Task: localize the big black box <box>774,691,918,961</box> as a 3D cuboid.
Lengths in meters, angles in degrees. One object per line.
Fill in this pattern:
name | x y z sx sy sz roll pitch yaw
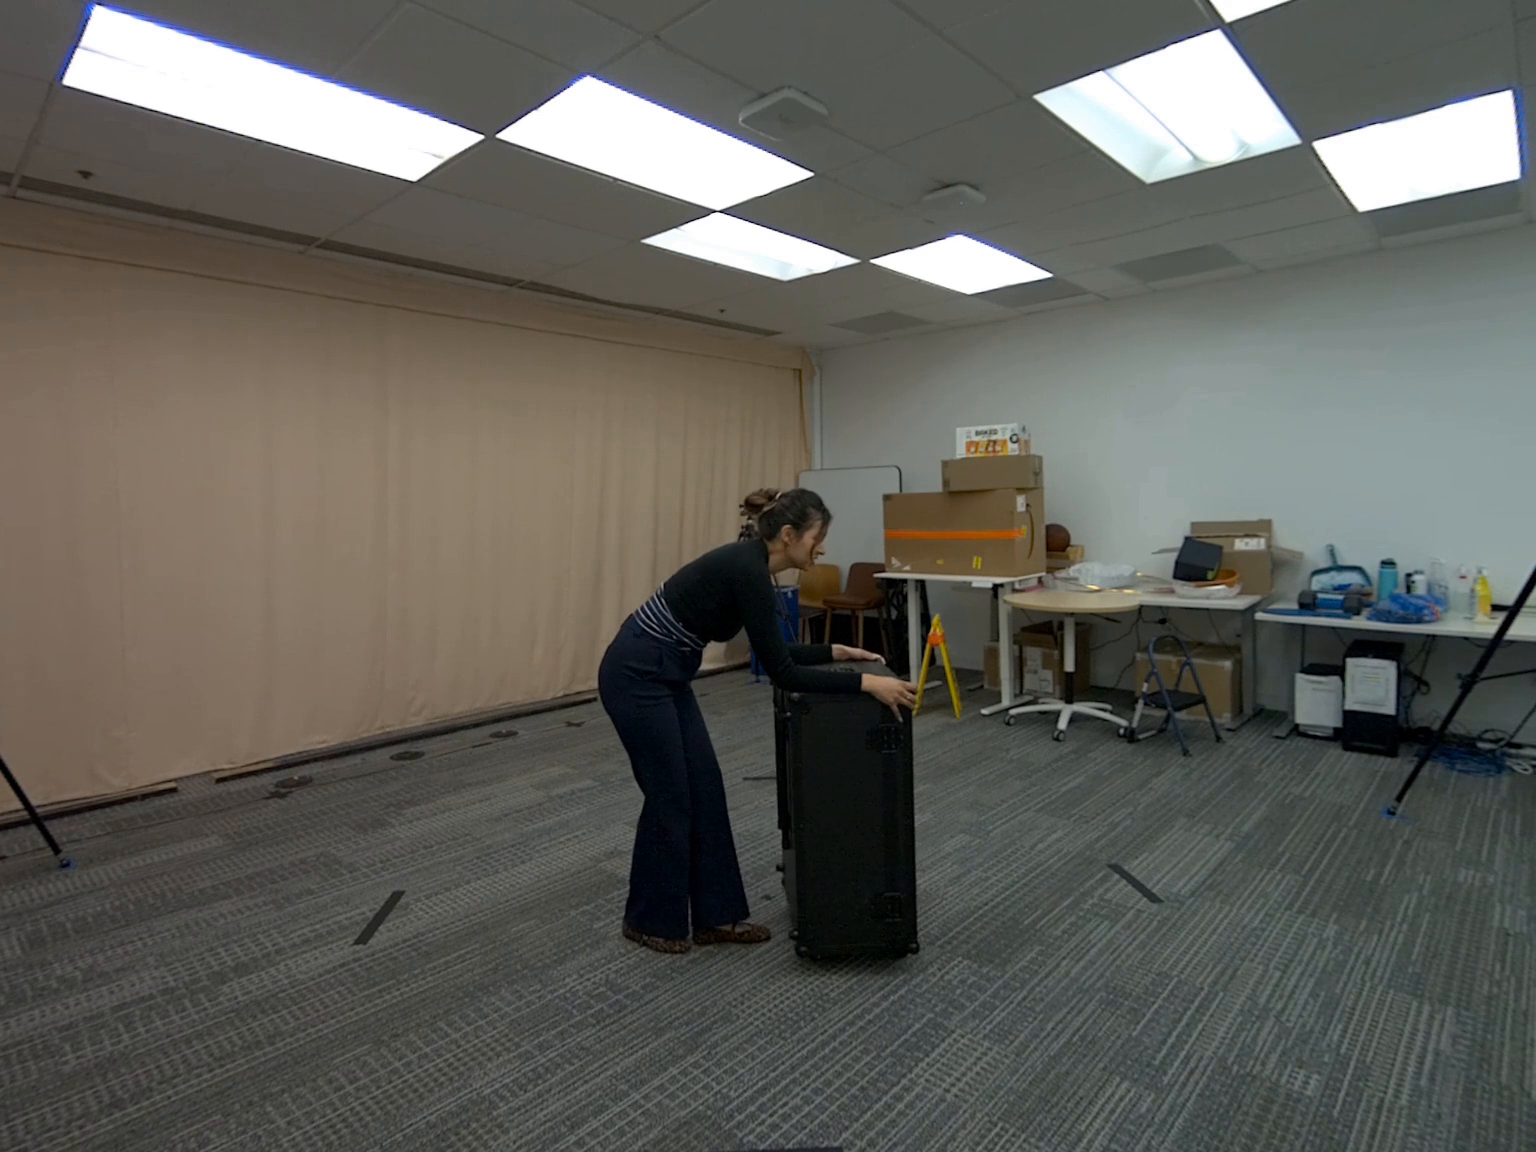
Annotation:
big black box | 0.231 0.742 2.674 0.396 0.859 0.523 -3 4 -2
